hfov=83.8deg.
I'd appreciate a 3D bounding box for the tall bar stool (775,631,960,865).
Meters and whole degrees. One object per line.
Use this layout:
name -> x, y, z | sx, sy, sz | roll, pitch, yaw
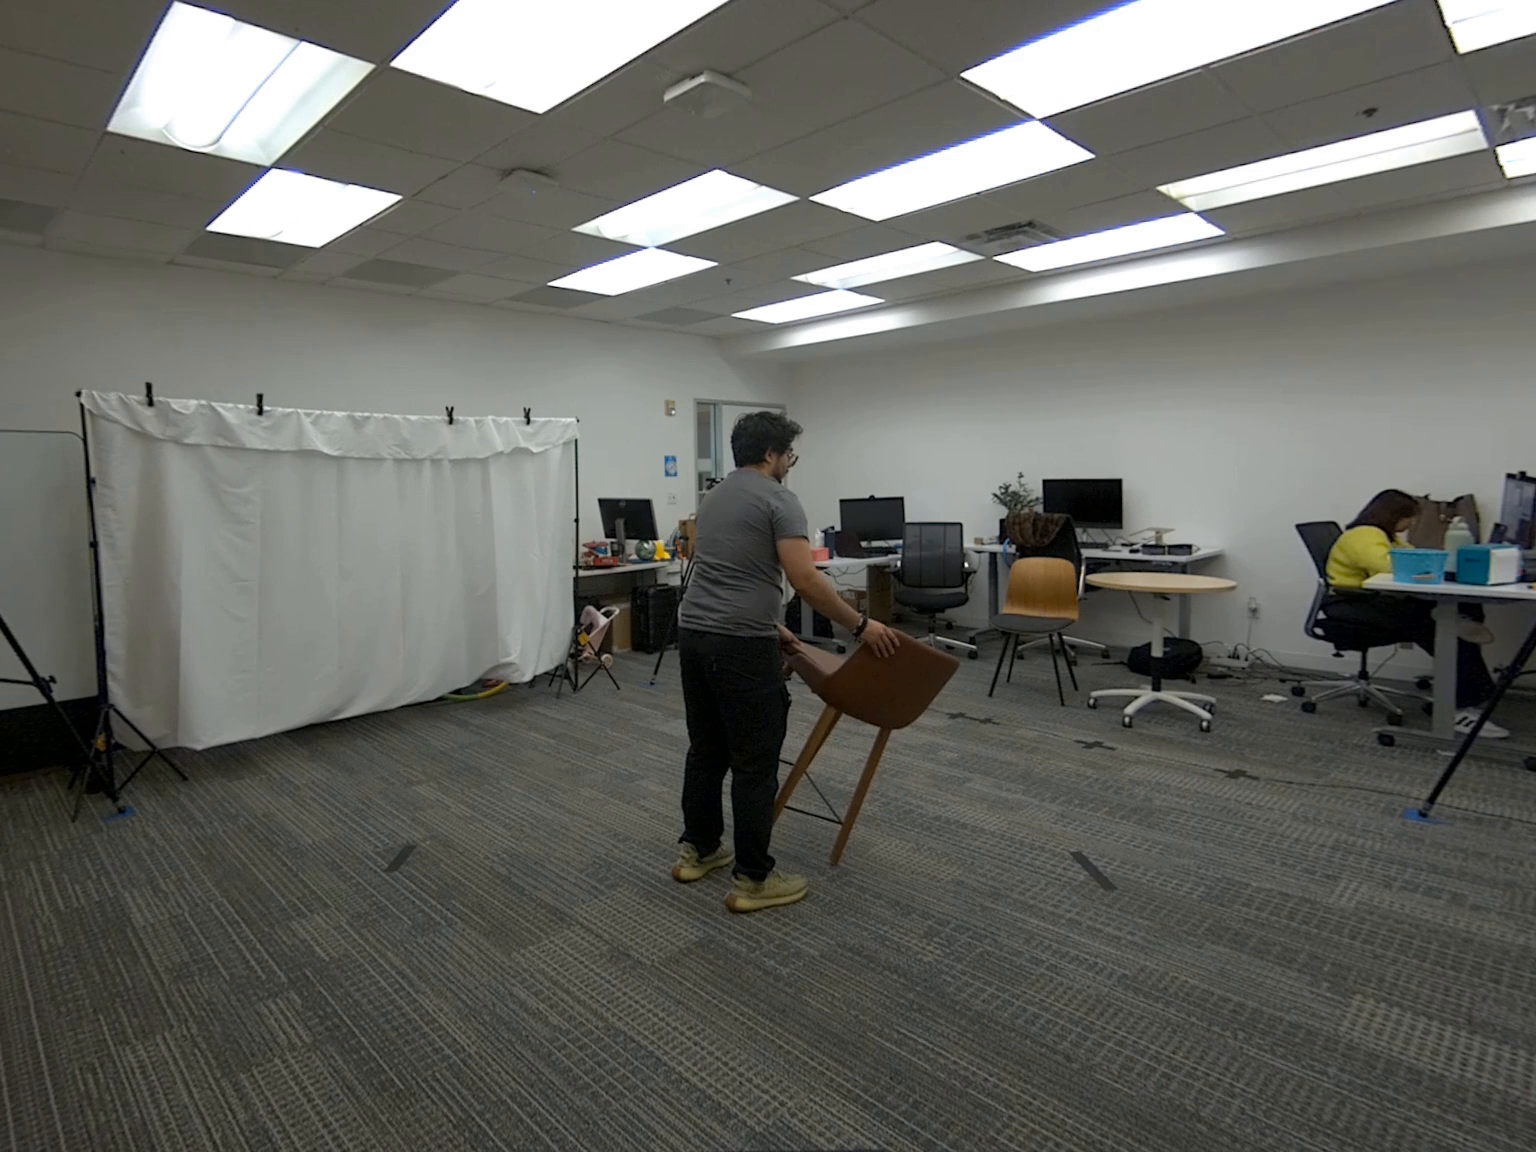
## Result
tall bar stool -> 0.237, 0.522, 3.133 | 0.442, 0.887, 0.484 | 25, 11, -30
